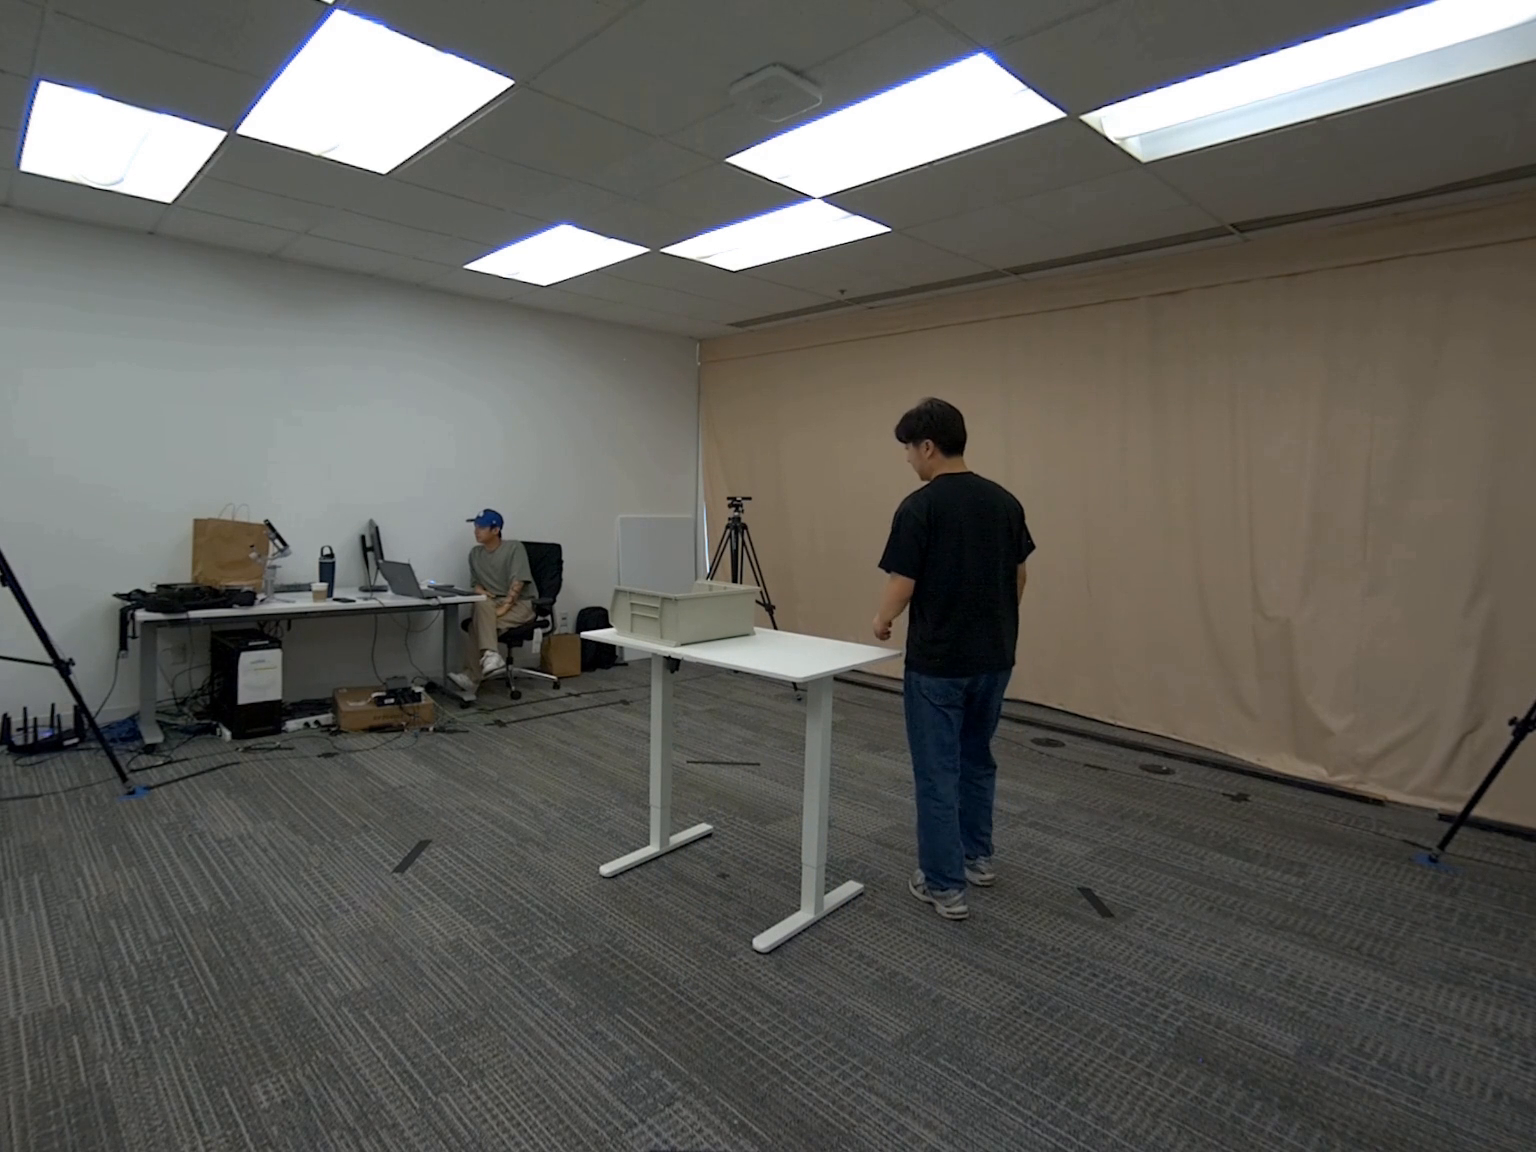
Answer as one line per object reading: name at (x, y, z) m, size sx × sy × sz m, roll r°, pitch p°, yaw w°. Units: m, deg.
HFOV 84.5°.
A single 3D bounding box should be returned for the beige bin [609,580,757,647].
beige bin at (-0.313, 0.131, 3.113) m, size 0.387 × 0.188 × 0.413 m, roll 9°, pitch 9°, yaw 44°
